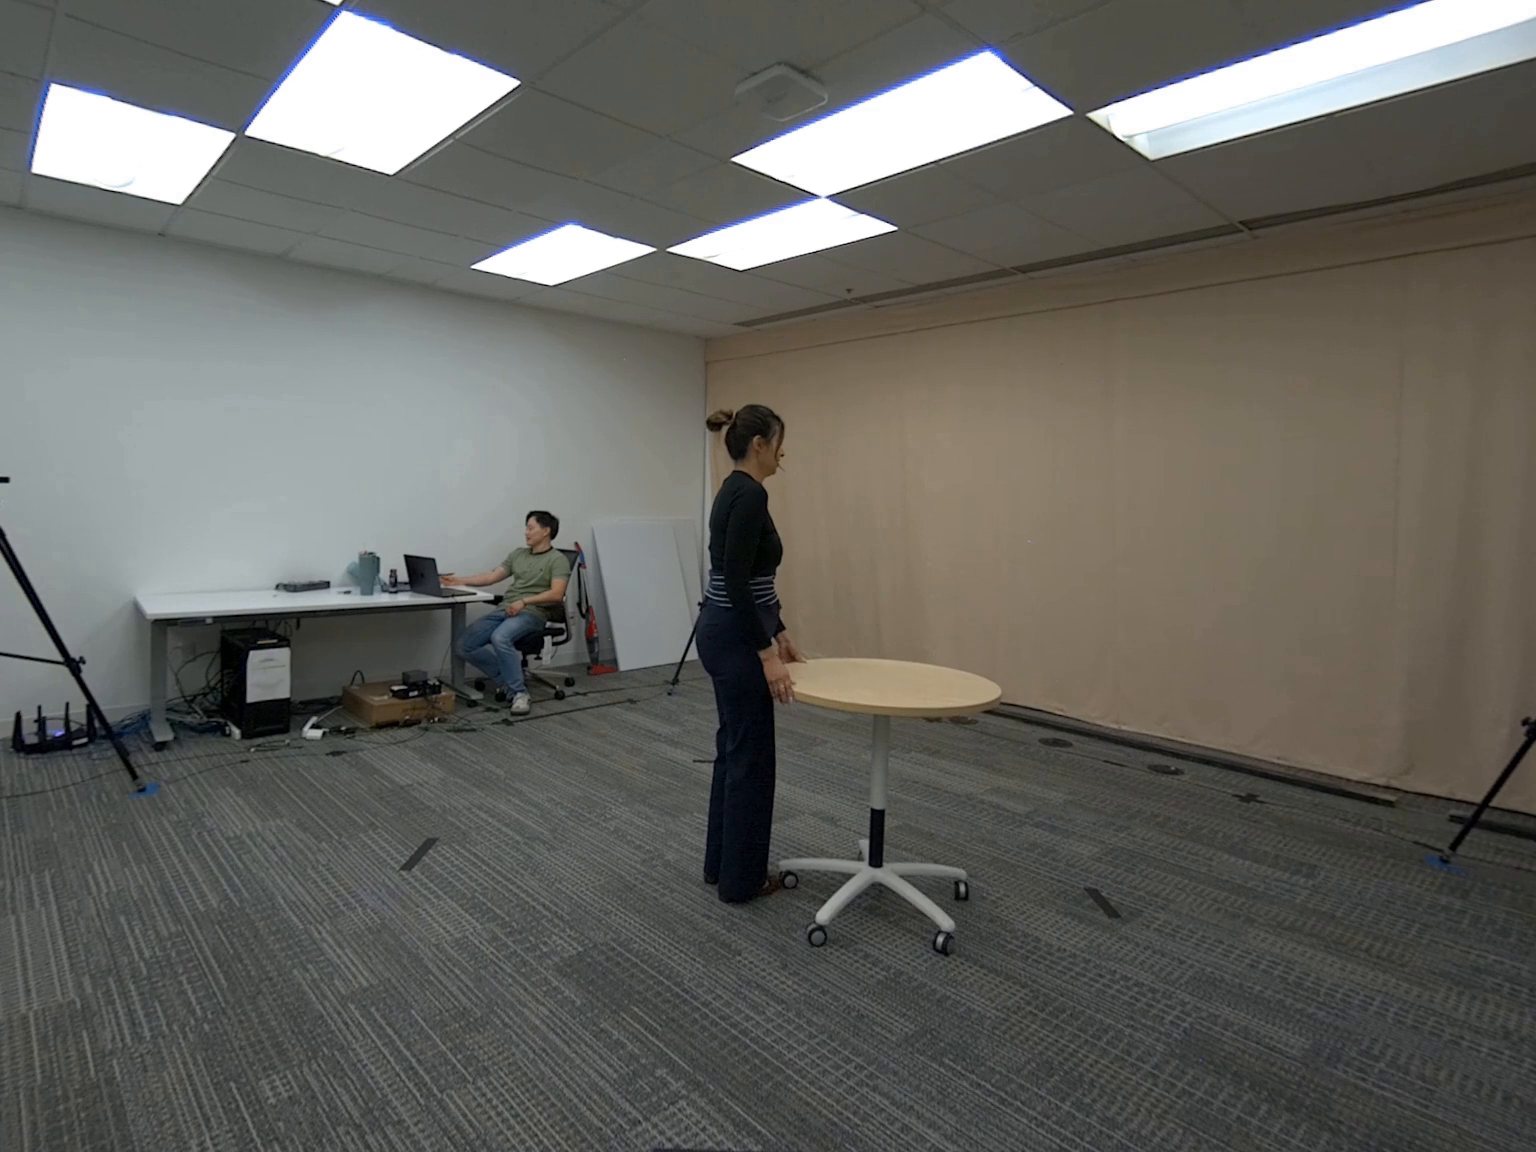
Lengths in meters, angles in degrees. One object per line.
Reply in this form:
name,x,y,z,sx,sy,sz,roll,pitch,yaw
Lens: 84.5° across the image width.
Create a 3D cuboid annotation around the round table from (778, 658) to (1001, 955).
round table,0.367,0.745,2.873,0.763,0.792,0.767,2,4,-2
